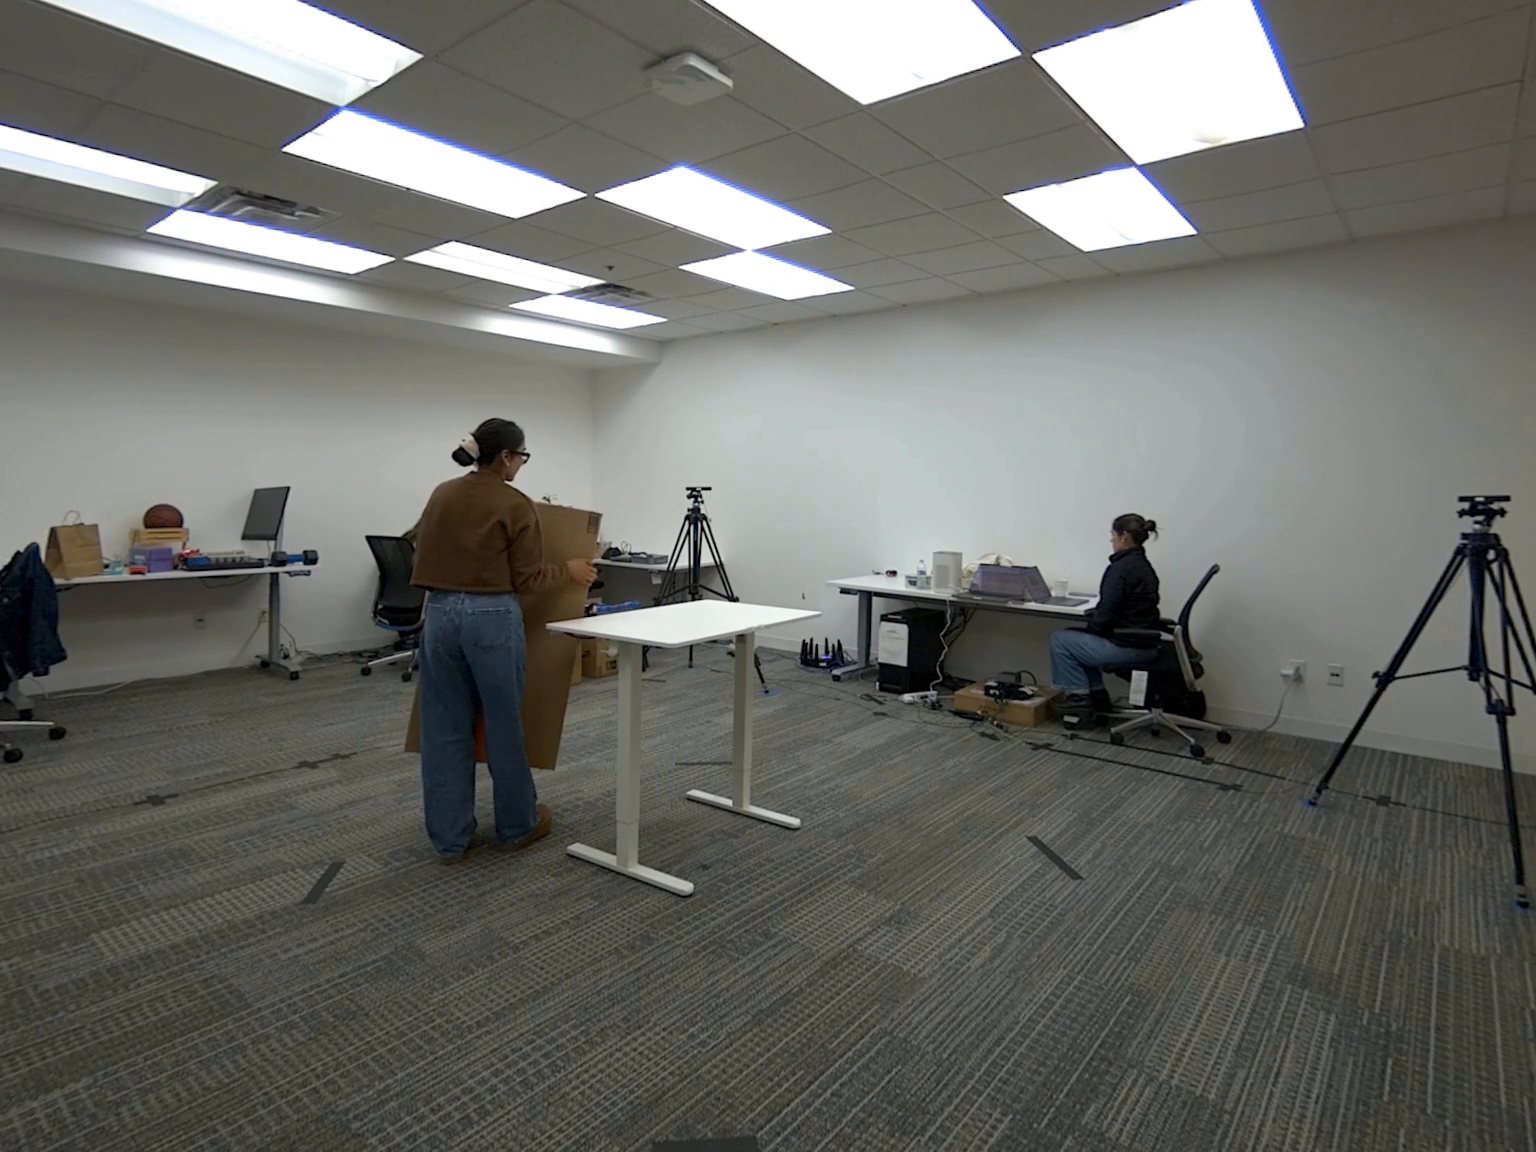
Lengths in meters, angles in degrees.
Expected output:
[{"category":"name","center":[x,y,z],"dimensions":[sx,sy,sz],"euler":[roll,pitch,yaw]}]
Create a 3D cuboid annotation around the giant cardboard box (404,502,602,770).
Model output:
[{"category":"giant cardboard box","center":[-1.079,0.197,3.501],"dimensions":[0.570,1.027,0.431],"euler":[10,-2,-11]}]
